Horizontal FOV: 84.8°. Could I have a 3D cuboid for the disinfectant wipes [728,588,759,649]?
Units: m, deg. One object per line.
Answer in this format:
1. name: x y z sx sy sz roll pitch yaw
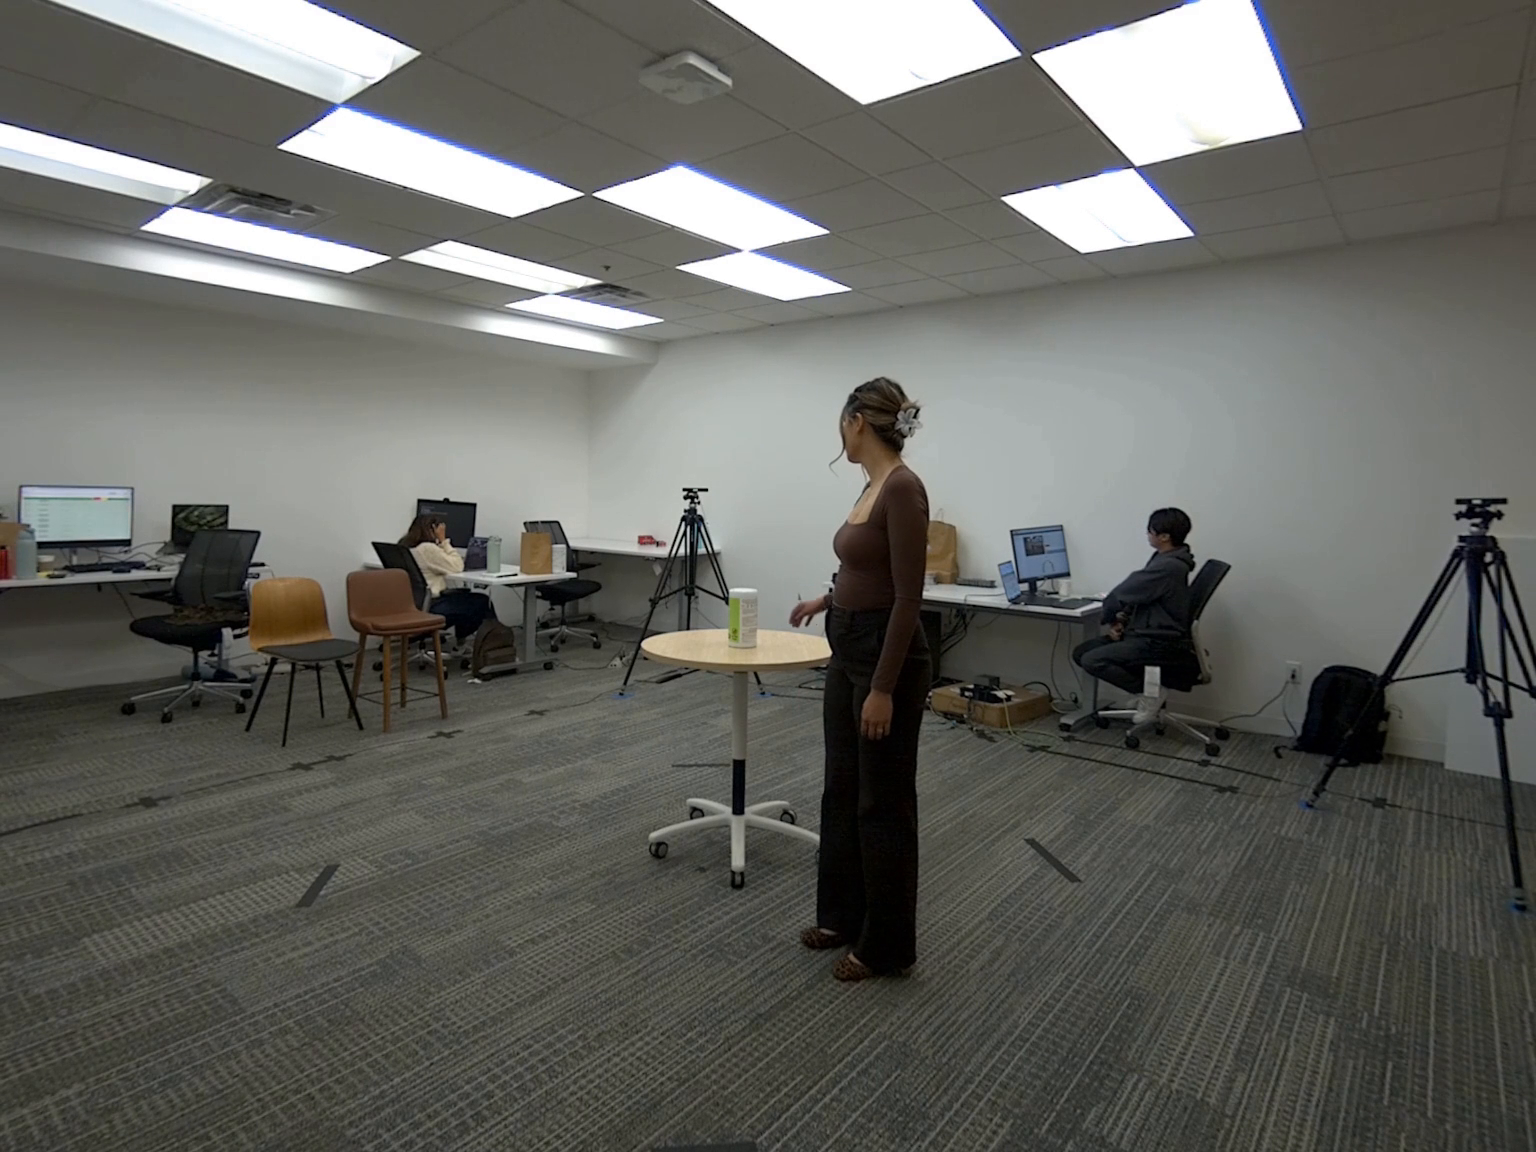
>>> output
1. disinfectant wipes: -0.103 0.156 3.225 0.118 0.217 0.118 0 4 -2
